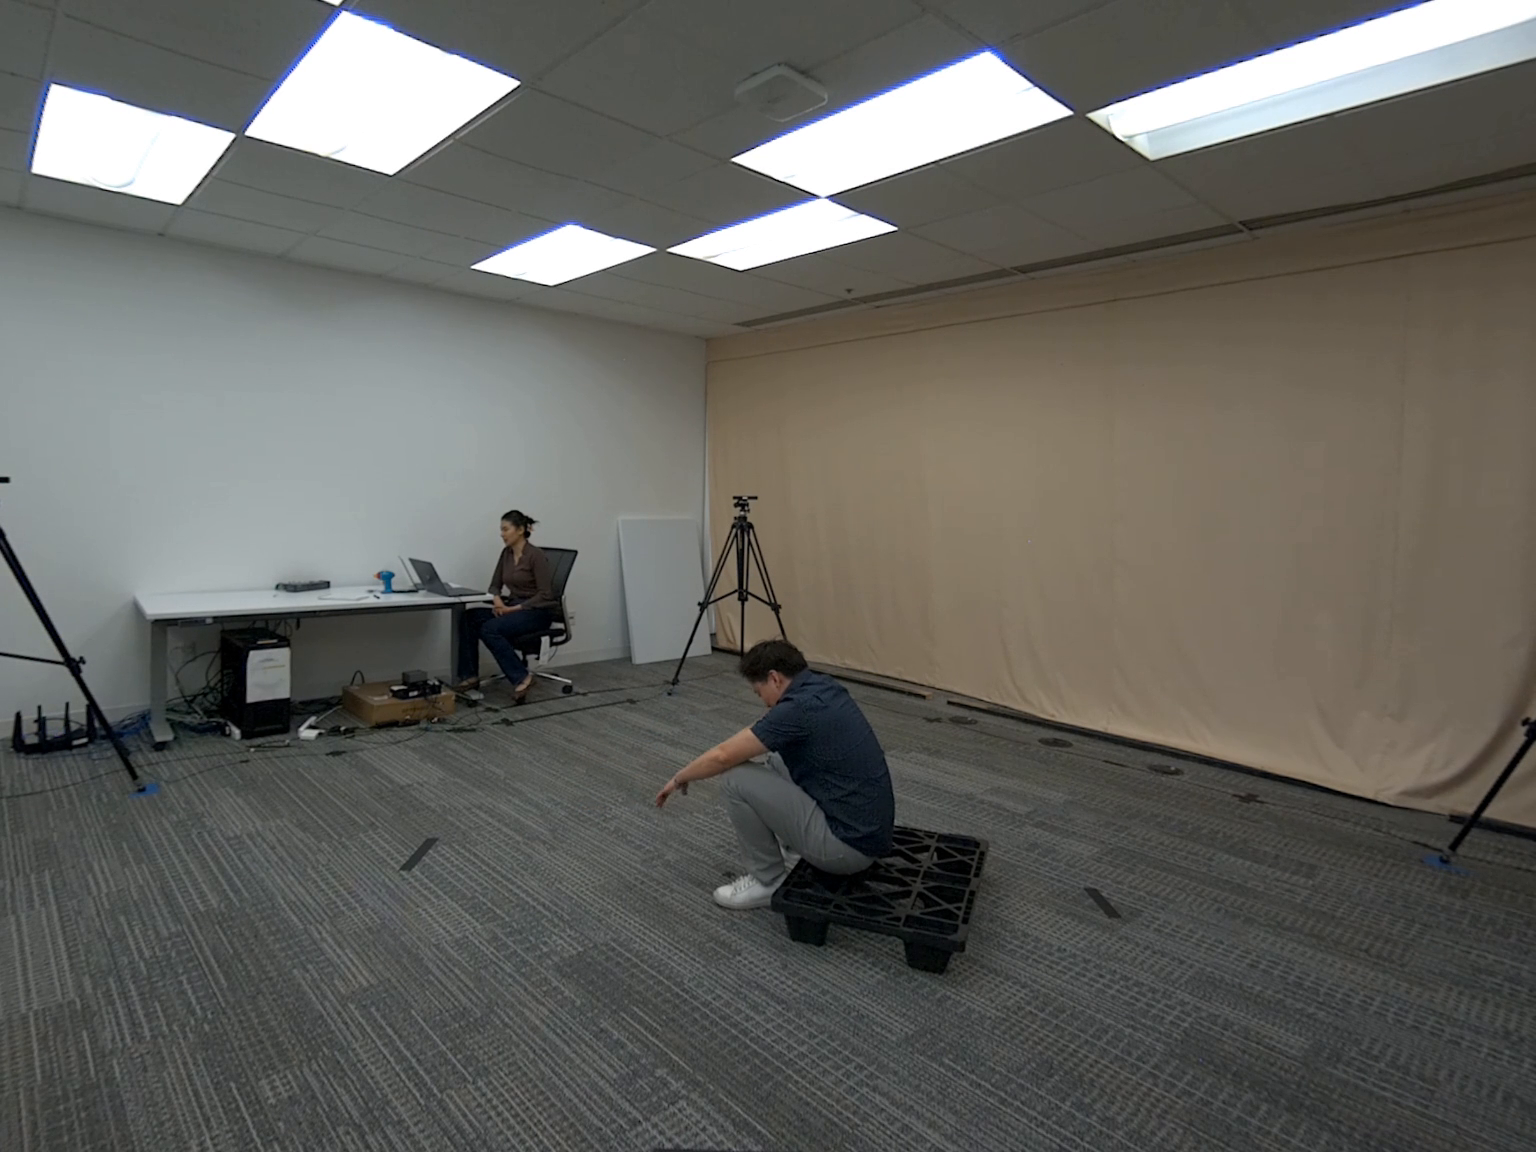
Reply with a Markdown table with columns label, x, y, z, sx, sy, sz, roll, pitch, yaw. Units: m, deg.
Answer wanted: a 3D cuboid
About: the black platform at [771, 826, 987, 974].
| label | x | y | z | sx | sy | sz | roll | pitch | yaw |
| --- | --- | --- | --- | --- | --- | --- | --- | --- | --- |
| black platform | 0.406 | 1.069 | 2.894 | 0.615 | 0.143 | 0.795 | 3 | 5 | 20 |
